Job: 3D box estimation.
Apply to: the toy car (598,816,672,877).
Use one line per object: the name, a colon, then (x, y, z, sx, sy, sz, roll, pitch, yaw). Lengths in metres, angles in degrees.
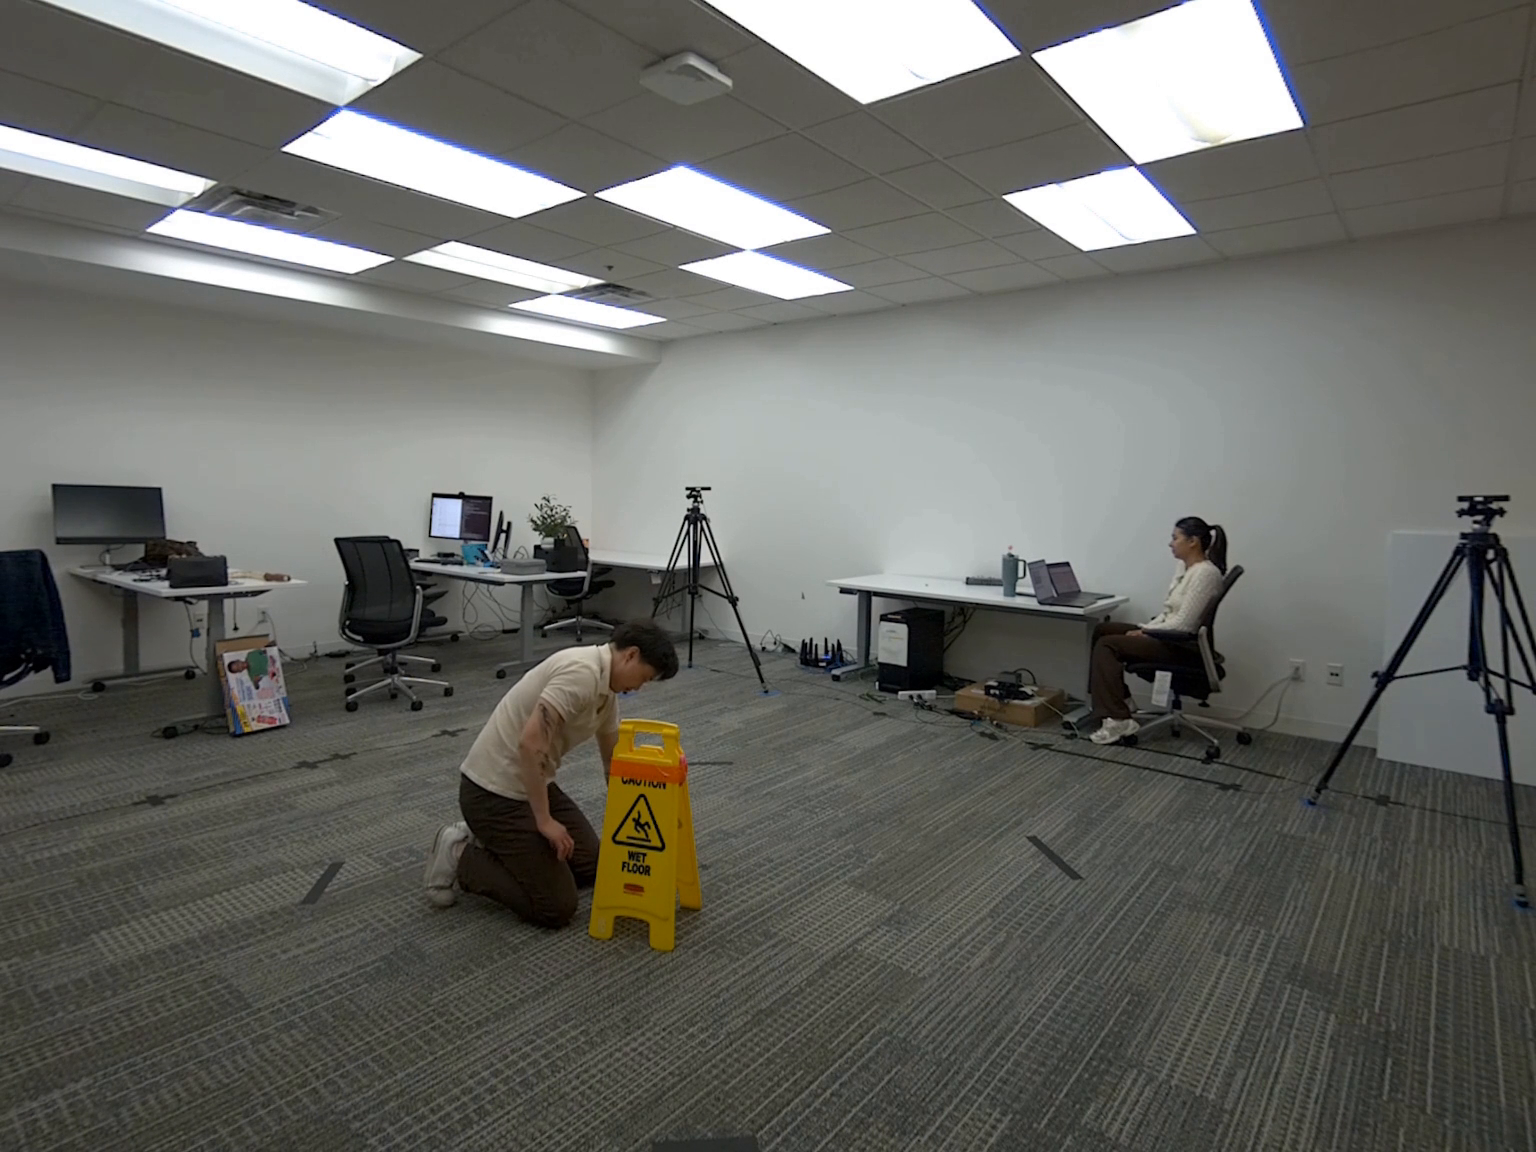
toy car: (-0.508, 1.012, 3.165, 0.249, 0.082, 0.135, -17, 15, -40)
